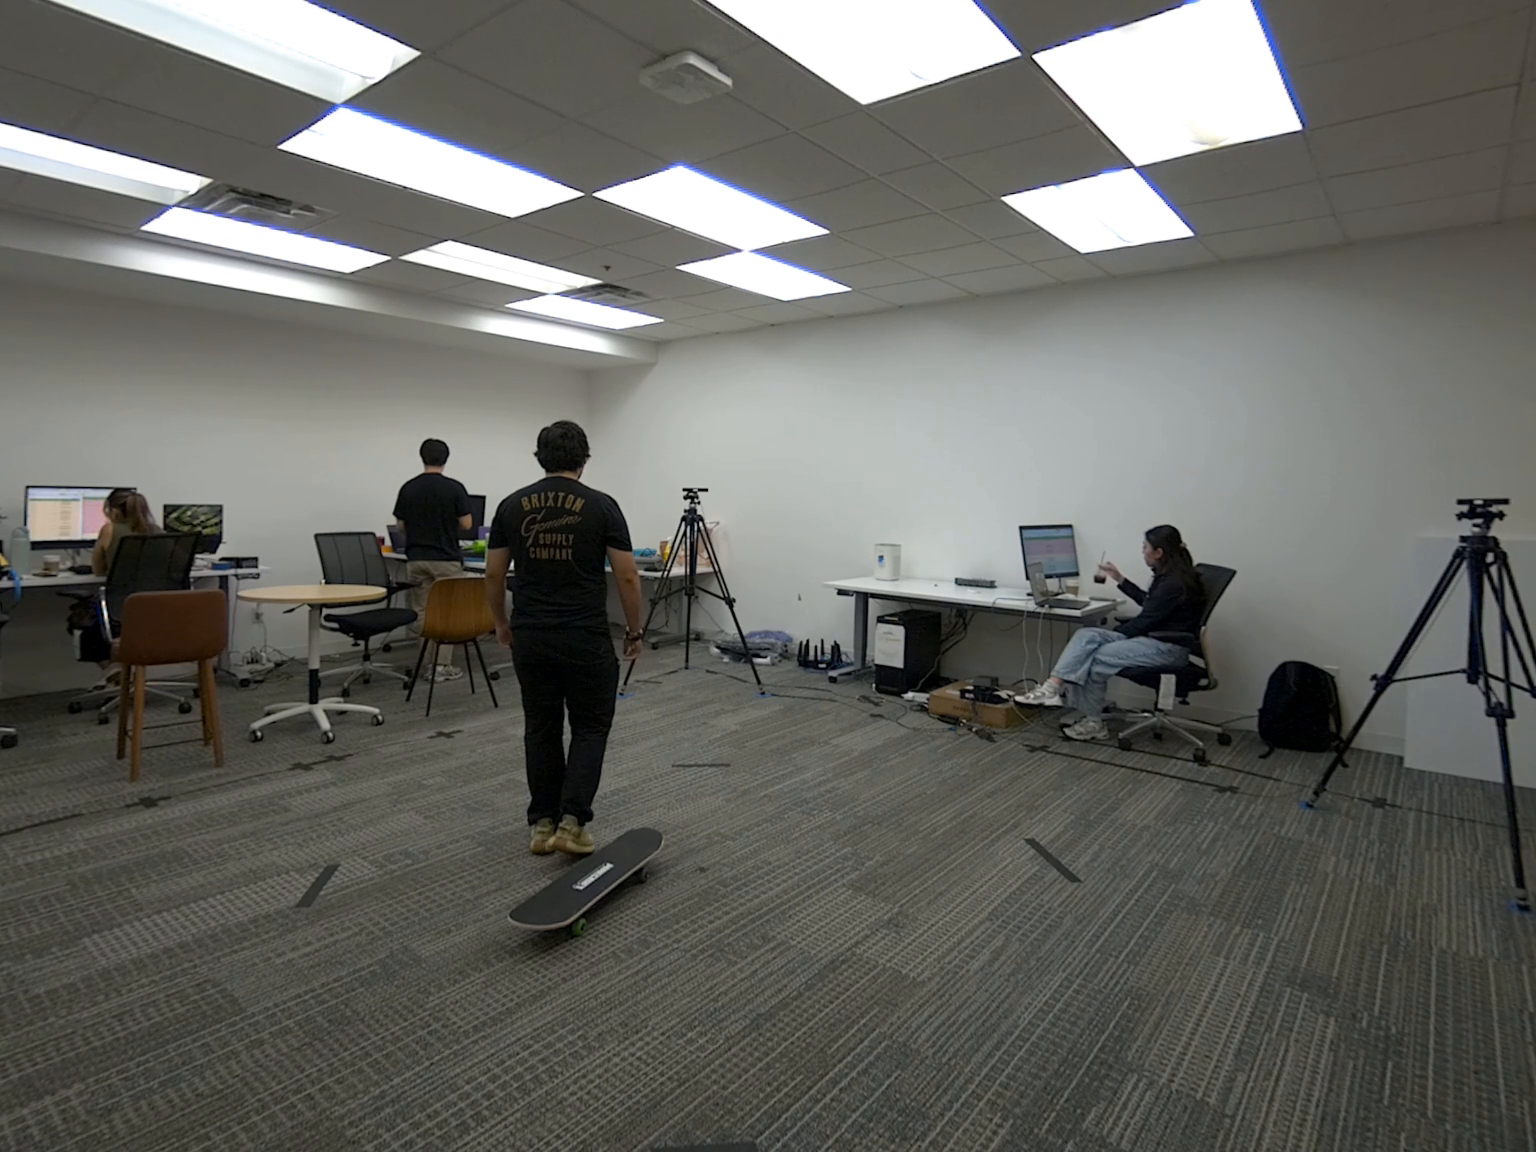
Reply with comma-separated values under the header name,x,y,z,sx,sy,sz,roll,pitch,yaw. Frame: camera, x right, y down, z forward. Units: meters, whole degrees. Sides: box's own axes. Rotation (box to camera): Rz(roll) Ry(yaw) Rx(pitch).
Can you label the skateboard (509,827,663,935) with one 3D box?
name,x,y,z,sx,sy,sz,roll,pitch,yaw
skateboard,-0.597,1.033,2.849,0.198,0.110,0.769,3,6,22
